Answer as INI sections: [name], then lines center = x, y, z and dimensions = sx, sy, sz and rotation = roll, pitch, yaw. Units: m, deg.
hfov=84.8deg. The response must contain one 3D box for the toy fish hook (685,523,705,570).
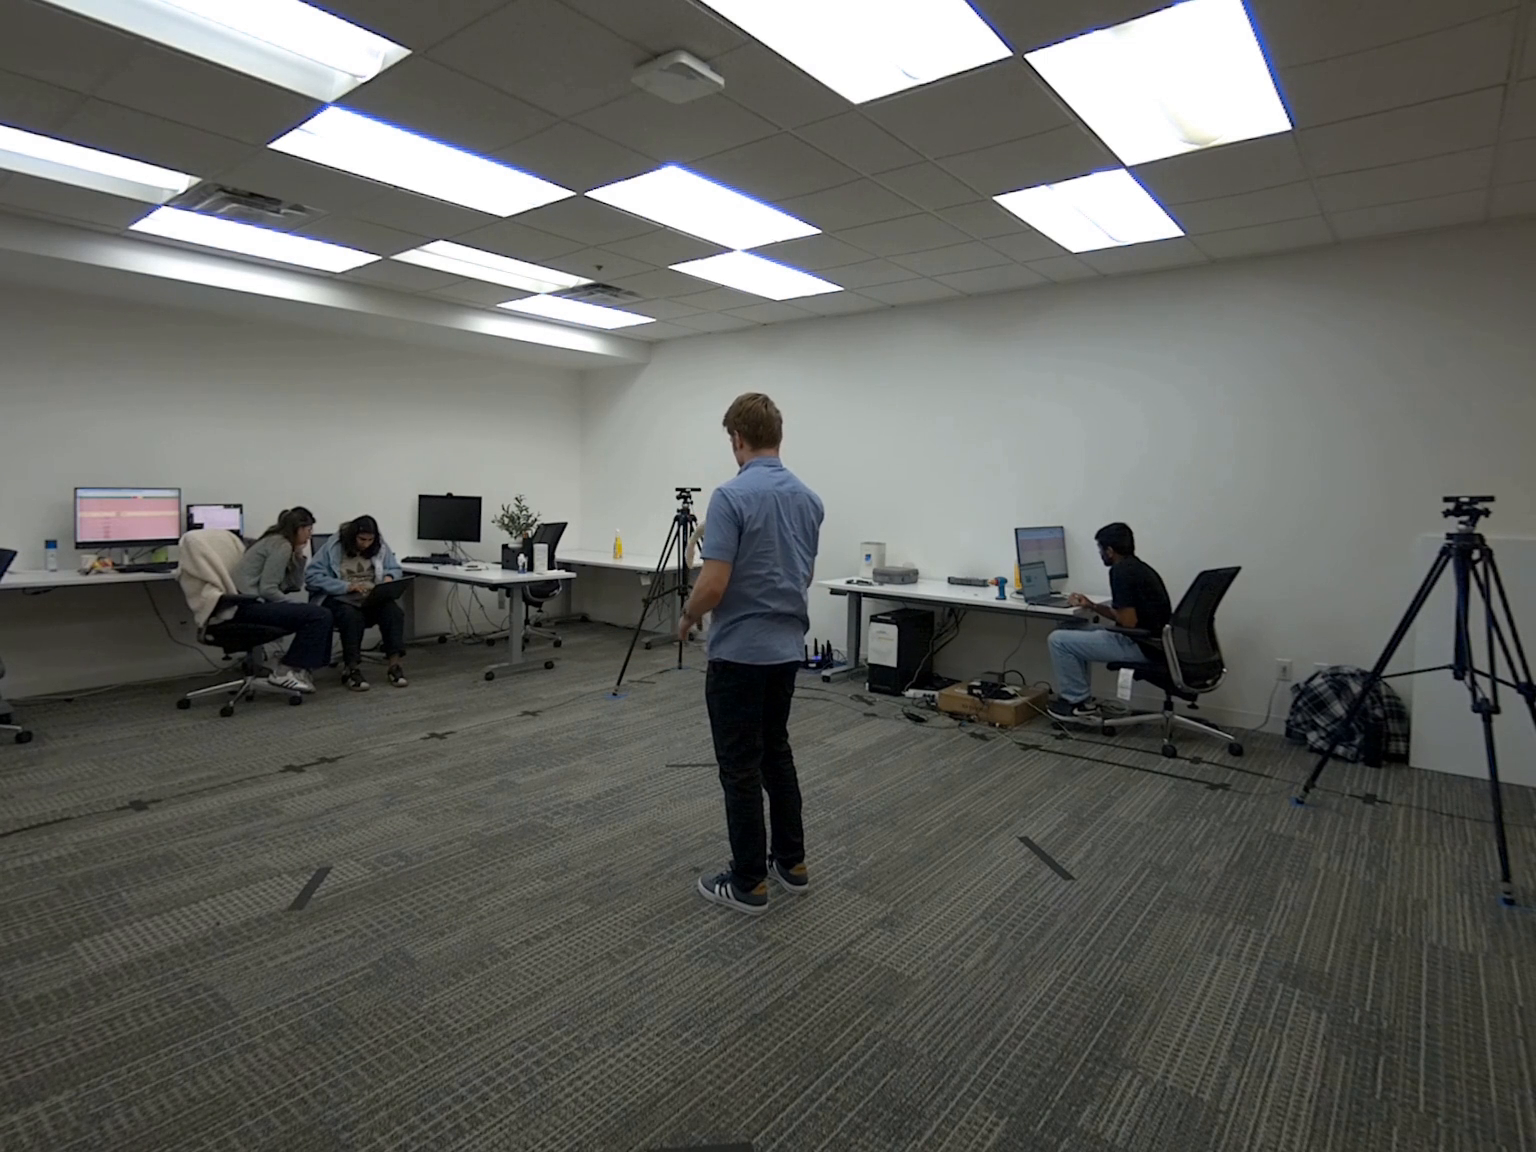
[toy fish hook]
center = -0.230, 0.030, 3.284
dimensions = 0.229, 0.508, 0.047
rotation = 4, -4, 19
